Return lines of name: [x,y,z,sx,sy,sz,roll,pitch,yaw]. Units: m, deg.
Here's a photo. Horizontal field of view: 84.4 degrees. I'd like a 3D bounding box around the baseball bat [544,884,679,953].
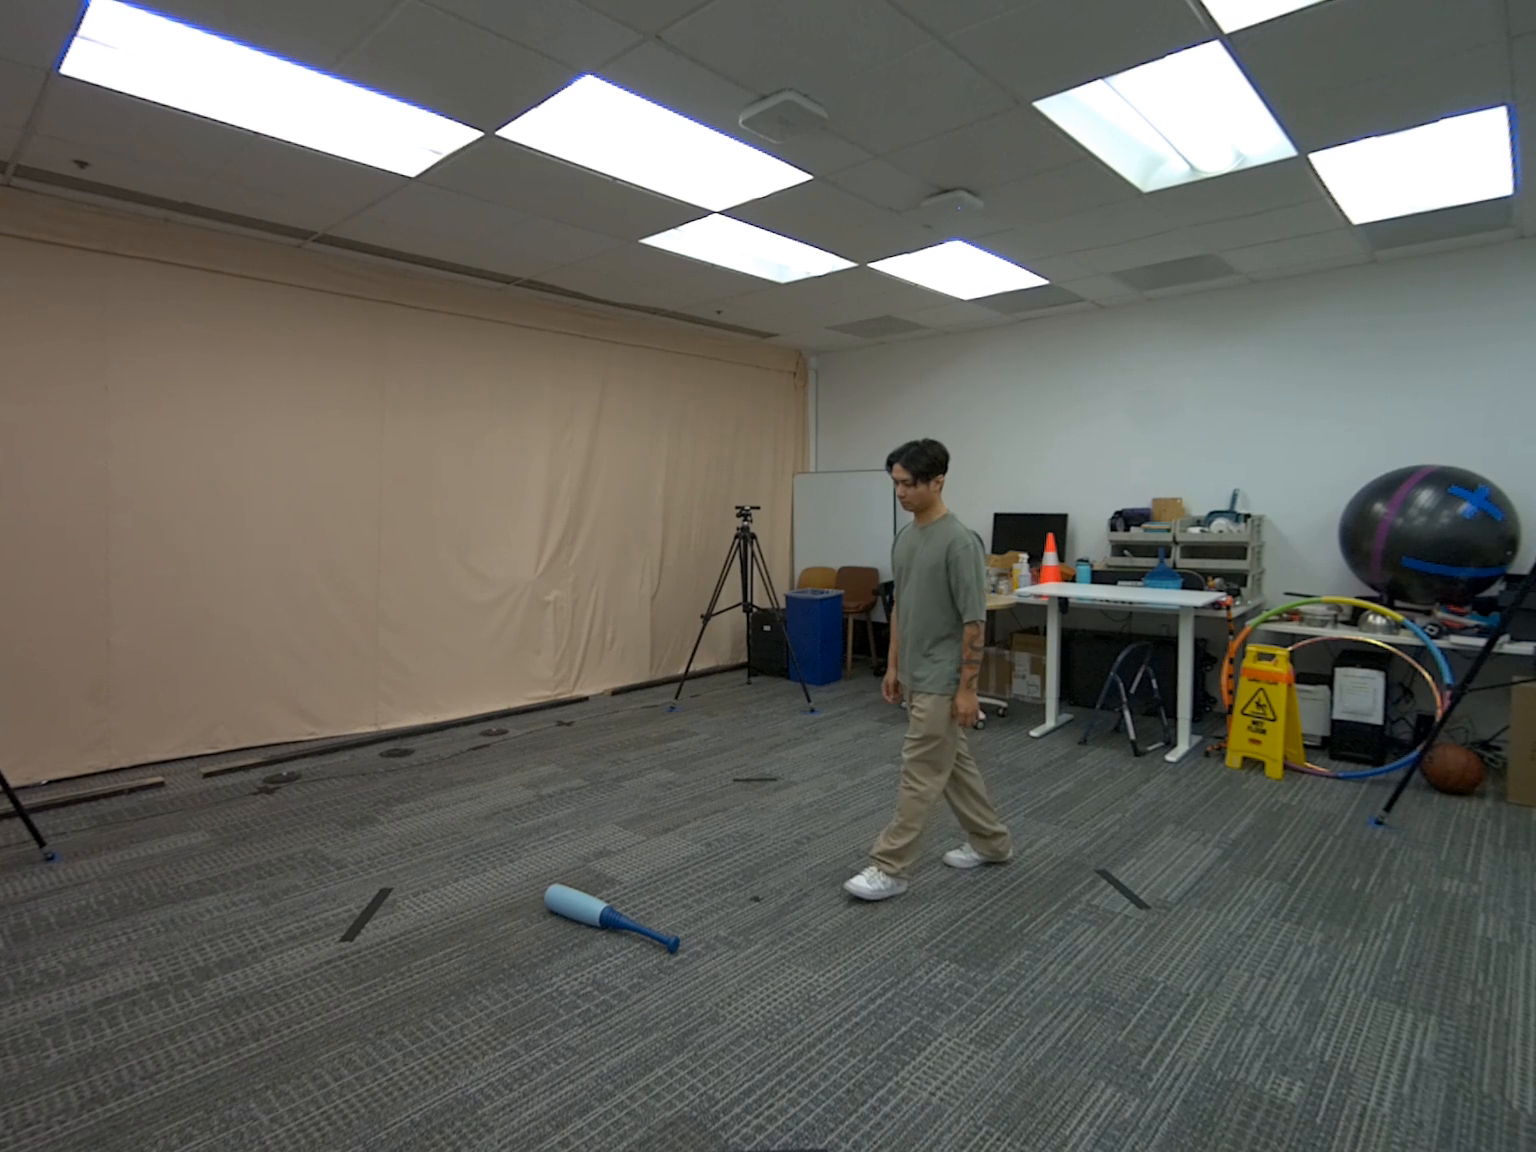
baseball bat: [-0.522,1.131,2.767,0.559,0.089,0.086,4,5,32]
